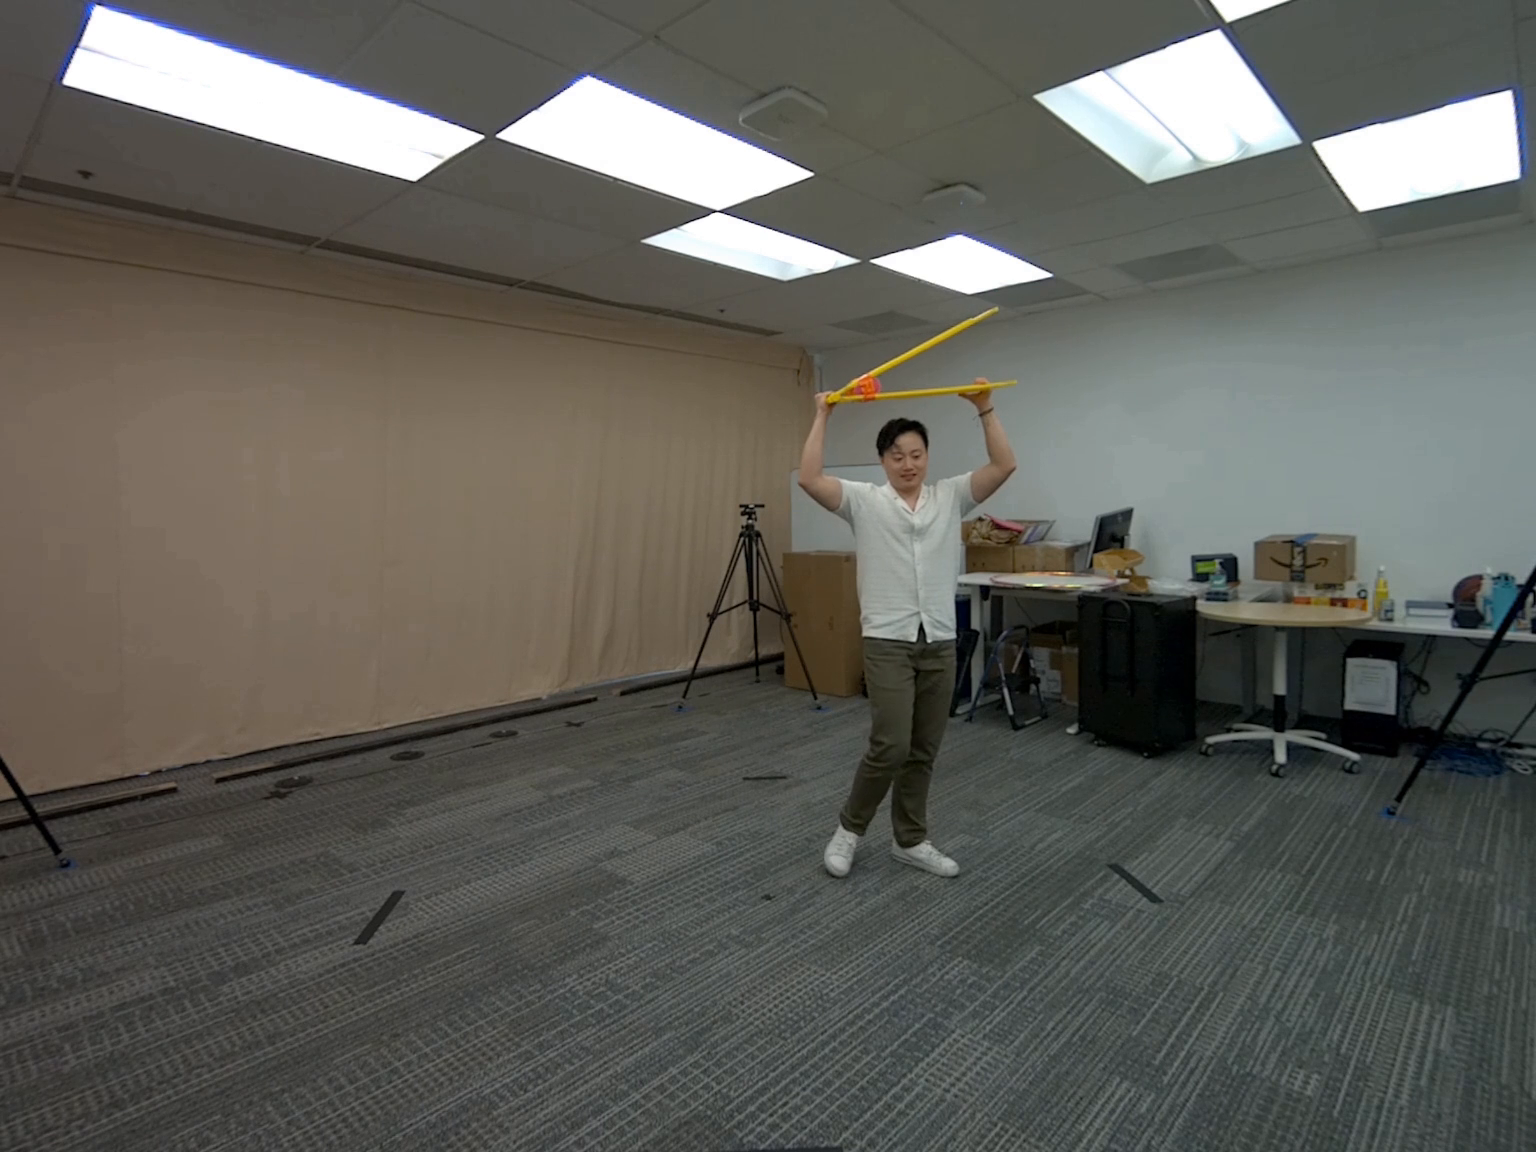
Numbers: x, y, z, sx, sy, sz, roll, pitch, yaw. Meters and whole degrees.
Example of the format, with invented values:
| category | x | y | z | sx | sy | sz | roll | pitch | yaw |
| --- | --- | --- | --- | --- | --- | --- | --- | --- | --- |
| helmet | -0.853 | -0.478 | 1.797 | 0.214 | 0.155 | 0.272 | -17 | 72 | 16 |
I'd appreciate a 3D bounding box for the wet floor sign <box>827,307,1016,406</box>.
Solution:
| category | x | y | z | sx | sy | sz | roll | pitch | yaw |
| --- | --- | --- | --- | --- | --- | --- | --- | --- | --- |
| wet floor sign | 0.530 | -0.734 | 3.074 | 0.648 | 0.288 | 0.283 | -15 | 8 | 4 |
